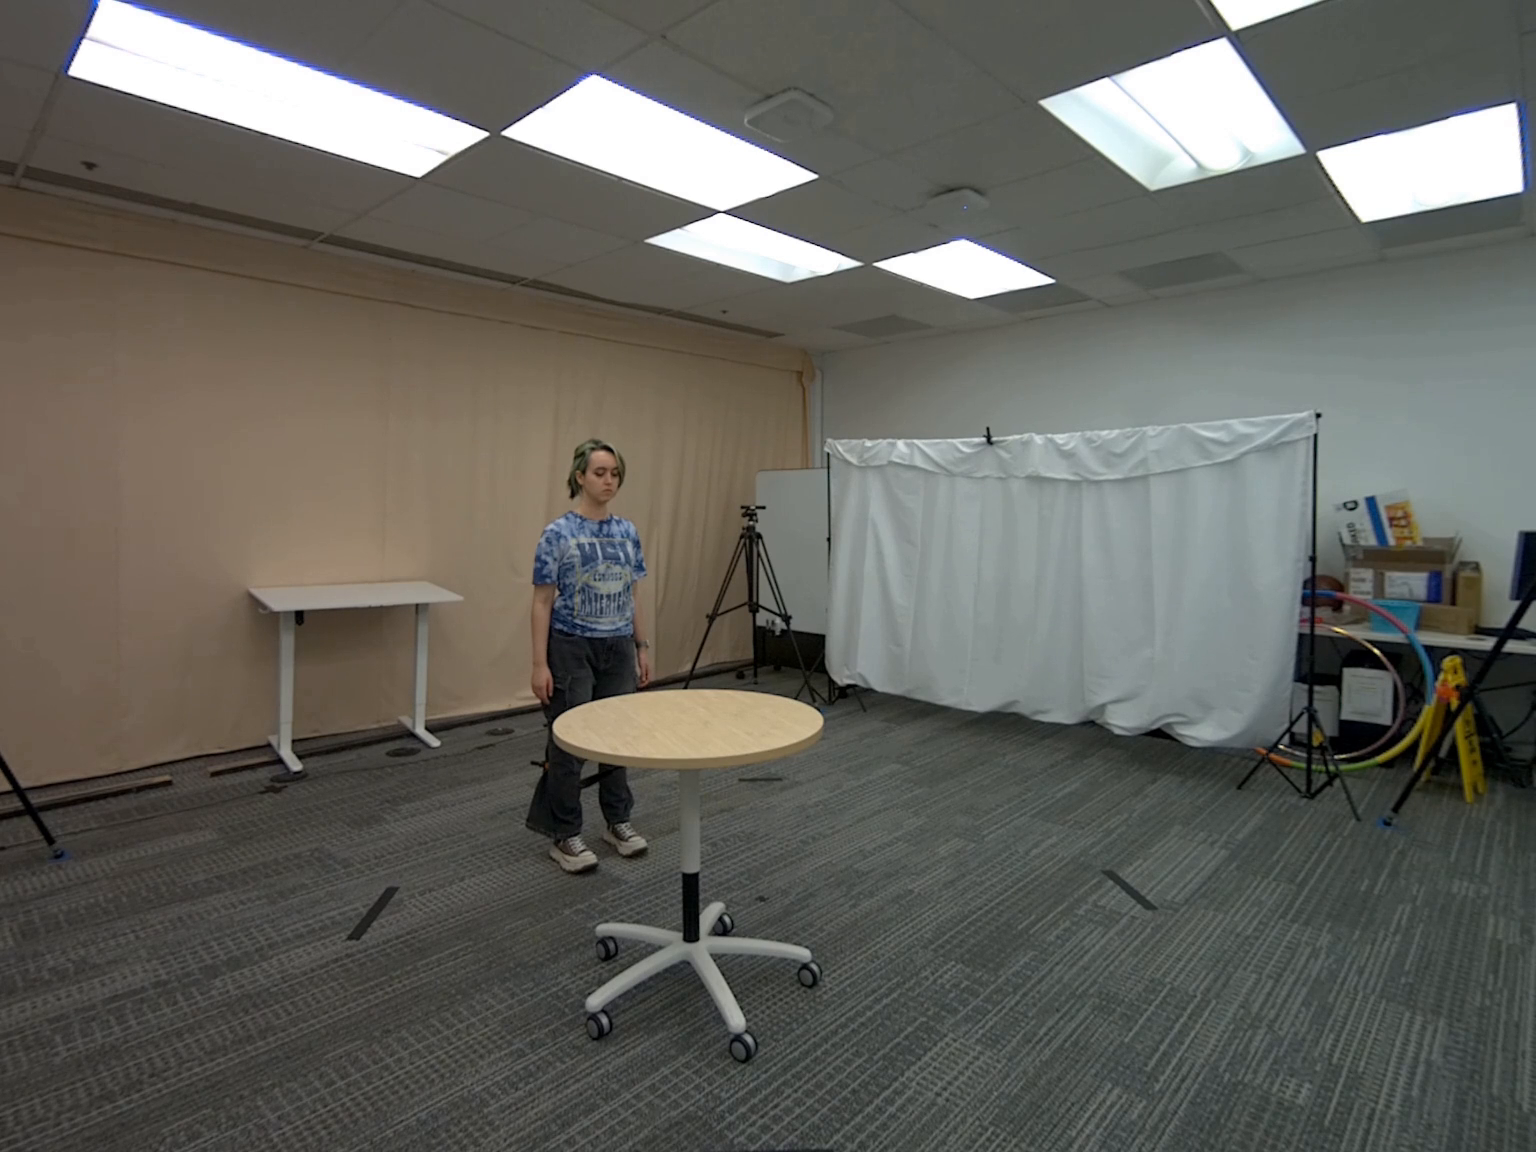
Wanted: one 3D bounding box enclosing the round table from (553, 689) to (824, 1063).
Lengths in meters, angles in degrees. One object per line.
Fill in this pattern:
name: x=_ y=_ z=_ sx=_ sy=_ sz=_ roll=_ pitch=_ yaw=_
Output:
round table: x=-0.222 y=0.807 z=2.414 sx=0.763 sy=0.792 sz=0.766 roll=-1 pitch=4 yaw=-2
